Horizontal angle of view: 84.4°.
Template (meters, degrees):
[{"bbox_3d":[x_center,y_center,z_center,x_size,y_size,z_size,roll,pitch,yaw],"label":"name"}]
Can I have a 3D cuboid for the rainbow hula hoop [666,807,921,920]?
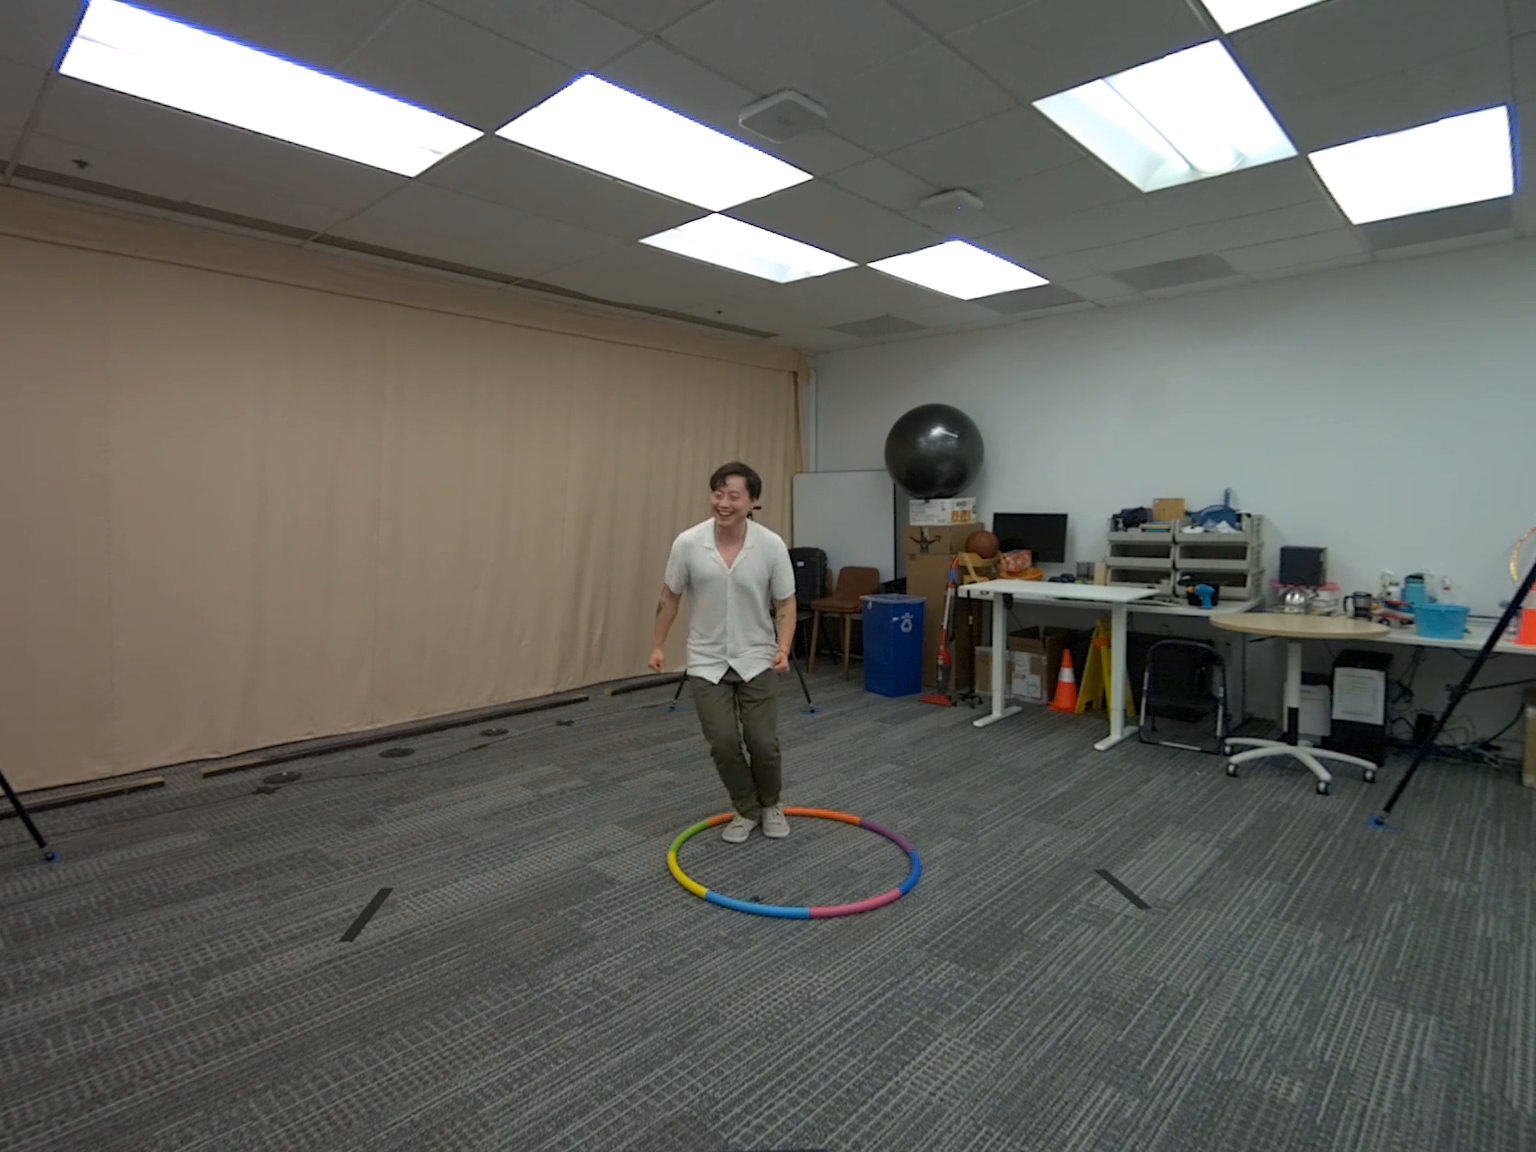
[{"bbox_3d":[0.096,1.088,3.317,0.978,0.035,0.982,0,5,-2],"label":"rainbow hula hoop"}]
